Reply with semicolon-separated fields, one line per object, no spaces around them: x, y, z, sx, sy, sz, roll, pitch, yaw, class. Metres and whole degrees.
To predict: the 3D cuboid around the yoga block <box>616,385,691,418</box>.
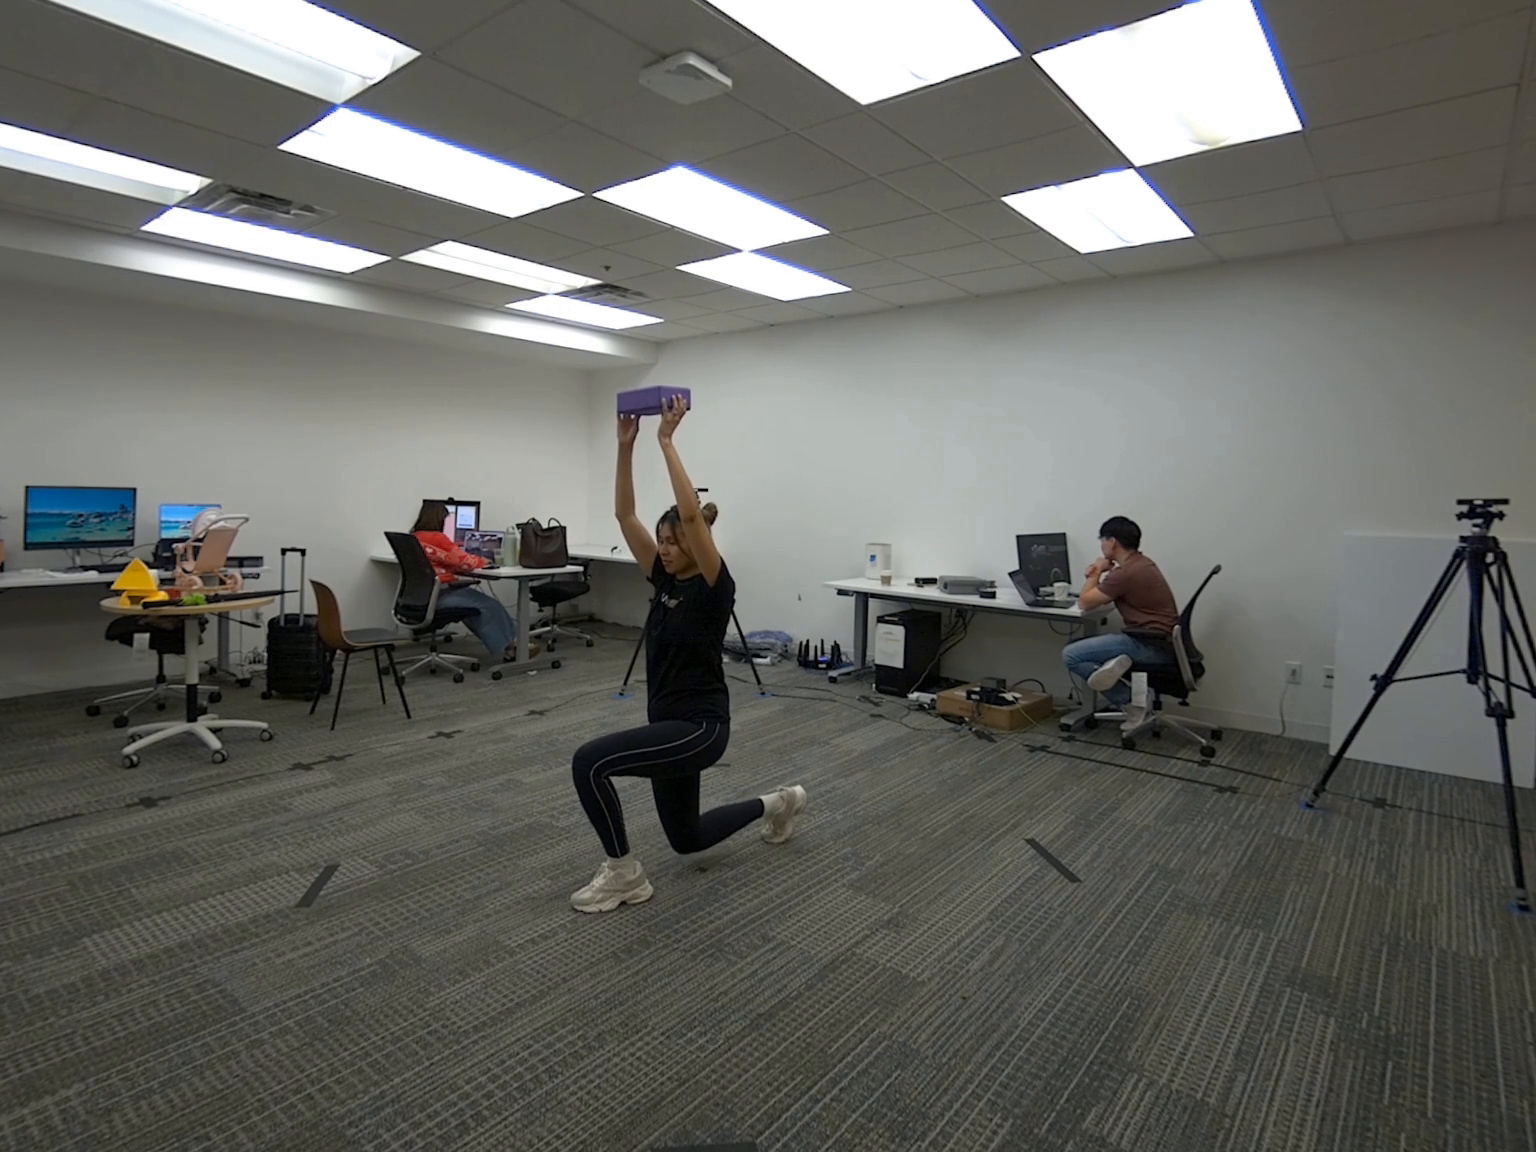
-0.403;-0.610;2.889;0.237;0.076;0.145;3;6;41;yoga block
